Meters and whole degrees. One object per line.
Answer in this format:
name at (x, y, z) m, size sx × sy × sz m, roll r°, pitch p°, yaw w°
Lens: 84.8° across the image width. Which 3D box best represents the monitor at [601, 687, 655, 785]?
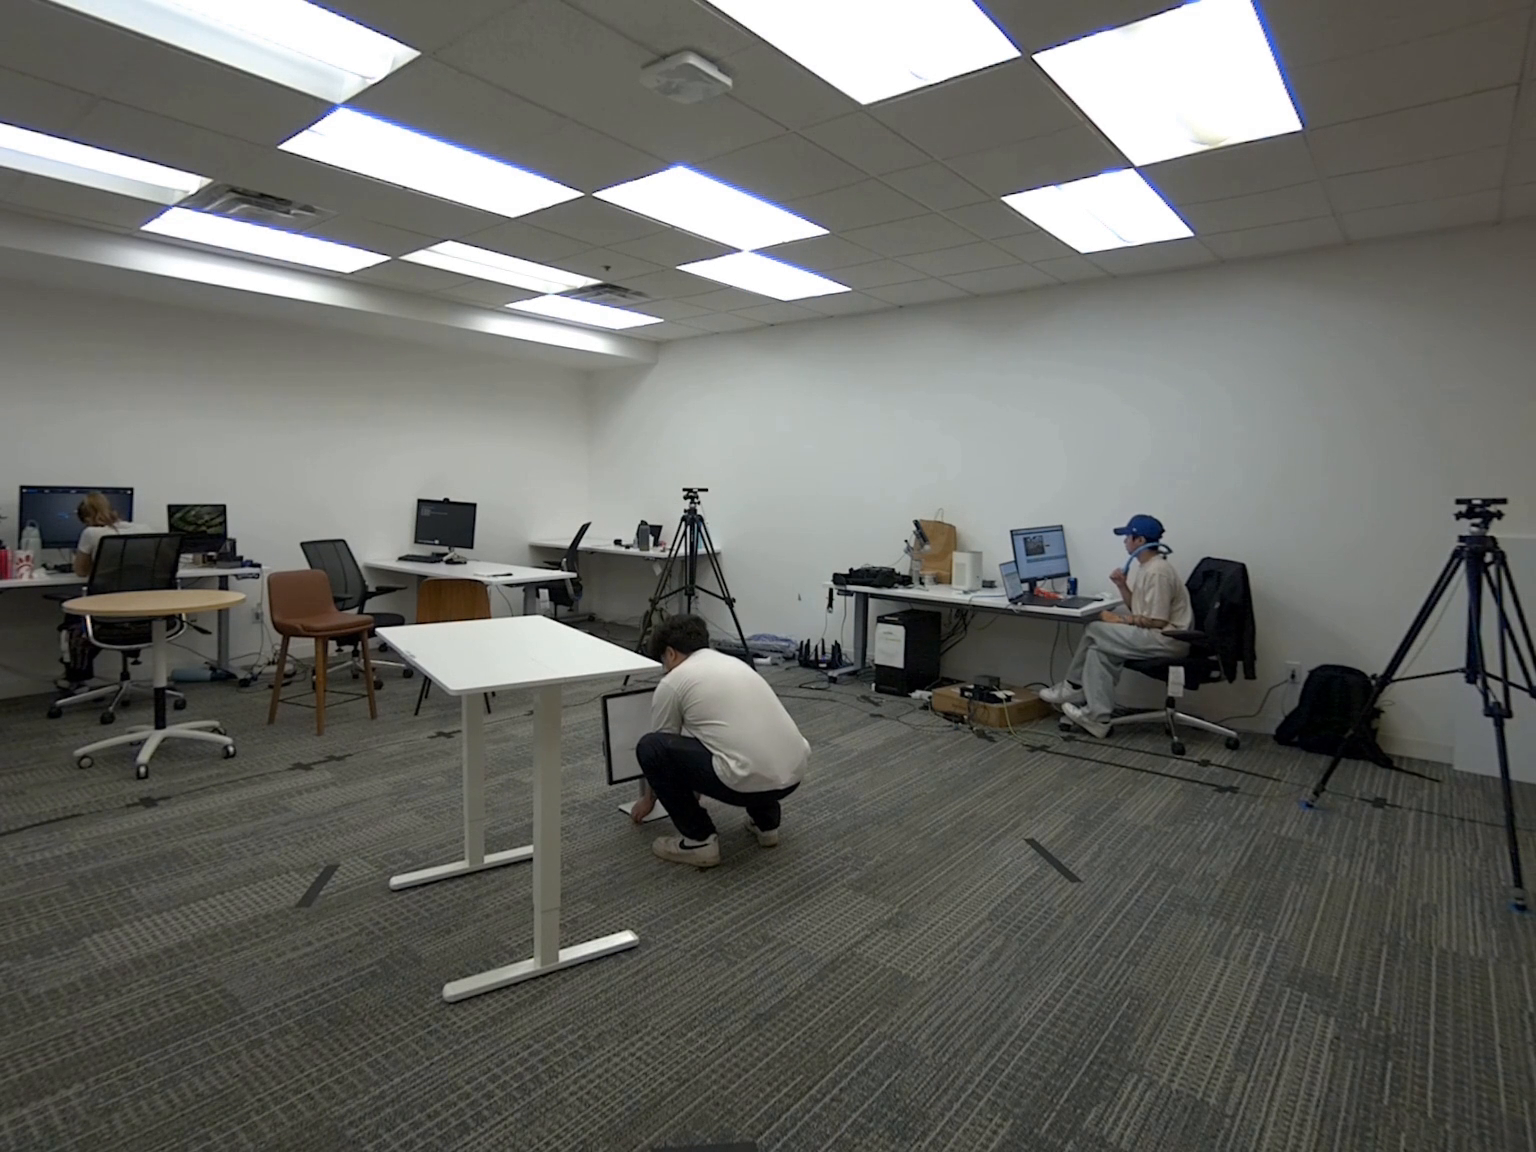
monitor at (-0.517, 0.741, 3.689) m, size 0.548 × 0.554 × 0.216 m, roll -4°, pitch 0°, yaw -42°
